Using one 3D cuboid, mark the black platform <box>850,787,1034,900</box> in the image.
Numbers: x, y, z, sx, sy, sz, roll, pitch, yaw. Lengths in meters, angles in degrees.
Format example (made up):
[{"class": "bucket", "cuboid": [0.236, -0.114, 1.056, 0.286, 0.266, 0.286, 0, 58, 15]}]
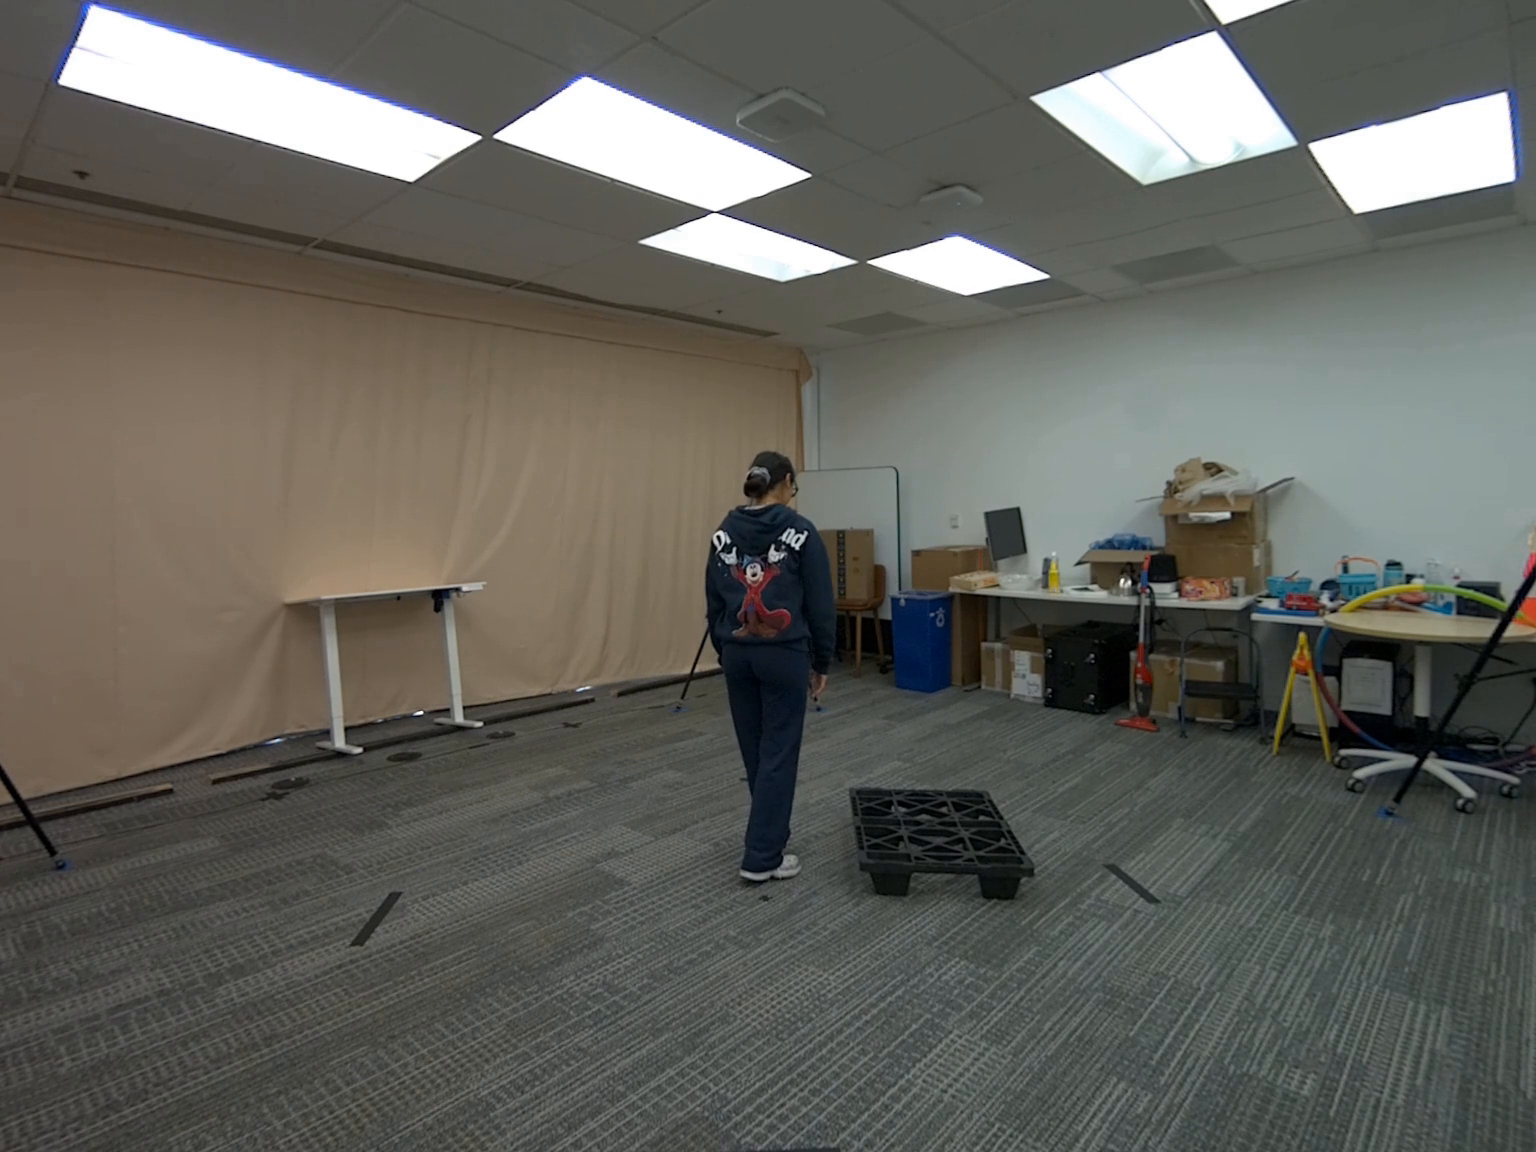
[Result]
[{"class": "black platform", "cuboid": [0.646, 1.034, 3.315, 0.609, 0.143, 0.803, 0, 5, 4]}]
